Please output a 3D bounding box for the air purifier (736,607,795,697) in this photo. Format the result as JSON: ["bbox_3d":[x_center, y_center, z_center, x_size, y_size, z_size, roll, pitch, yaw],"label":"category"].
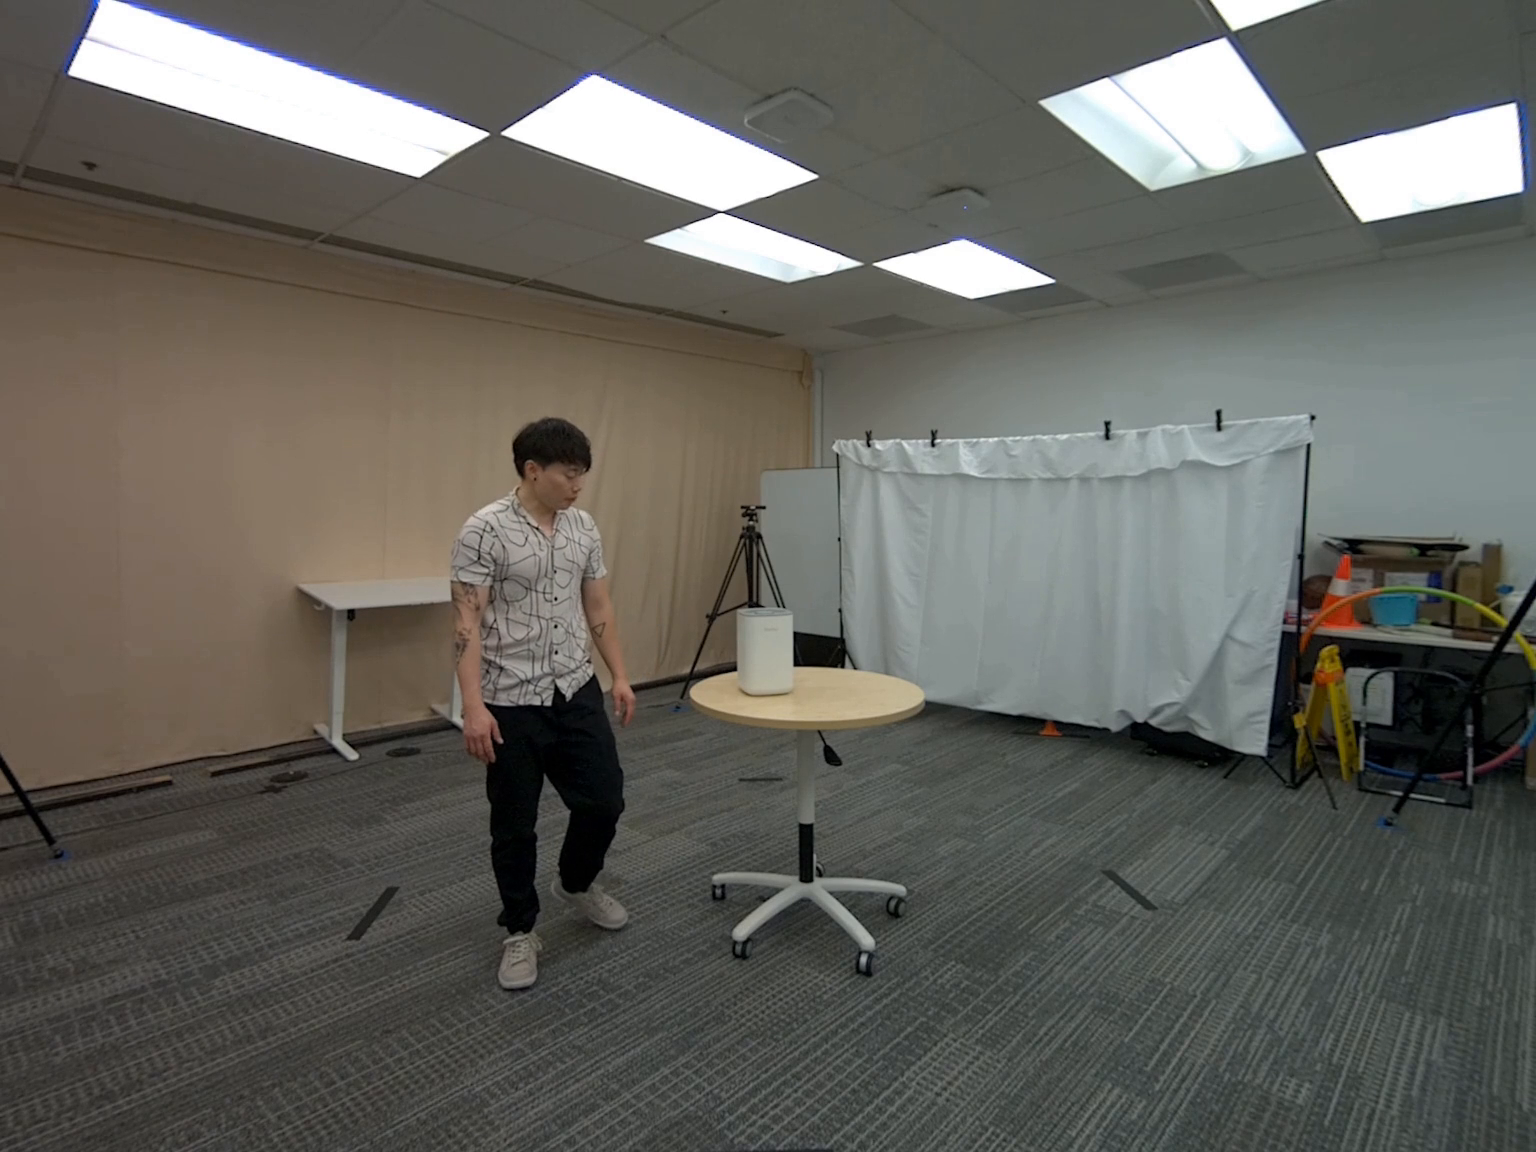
[{"bbox_3d":[-0.007,0.252,2.765,0.169,0.264,0.174,-2,5,-14],"label":"air purifier"}]
